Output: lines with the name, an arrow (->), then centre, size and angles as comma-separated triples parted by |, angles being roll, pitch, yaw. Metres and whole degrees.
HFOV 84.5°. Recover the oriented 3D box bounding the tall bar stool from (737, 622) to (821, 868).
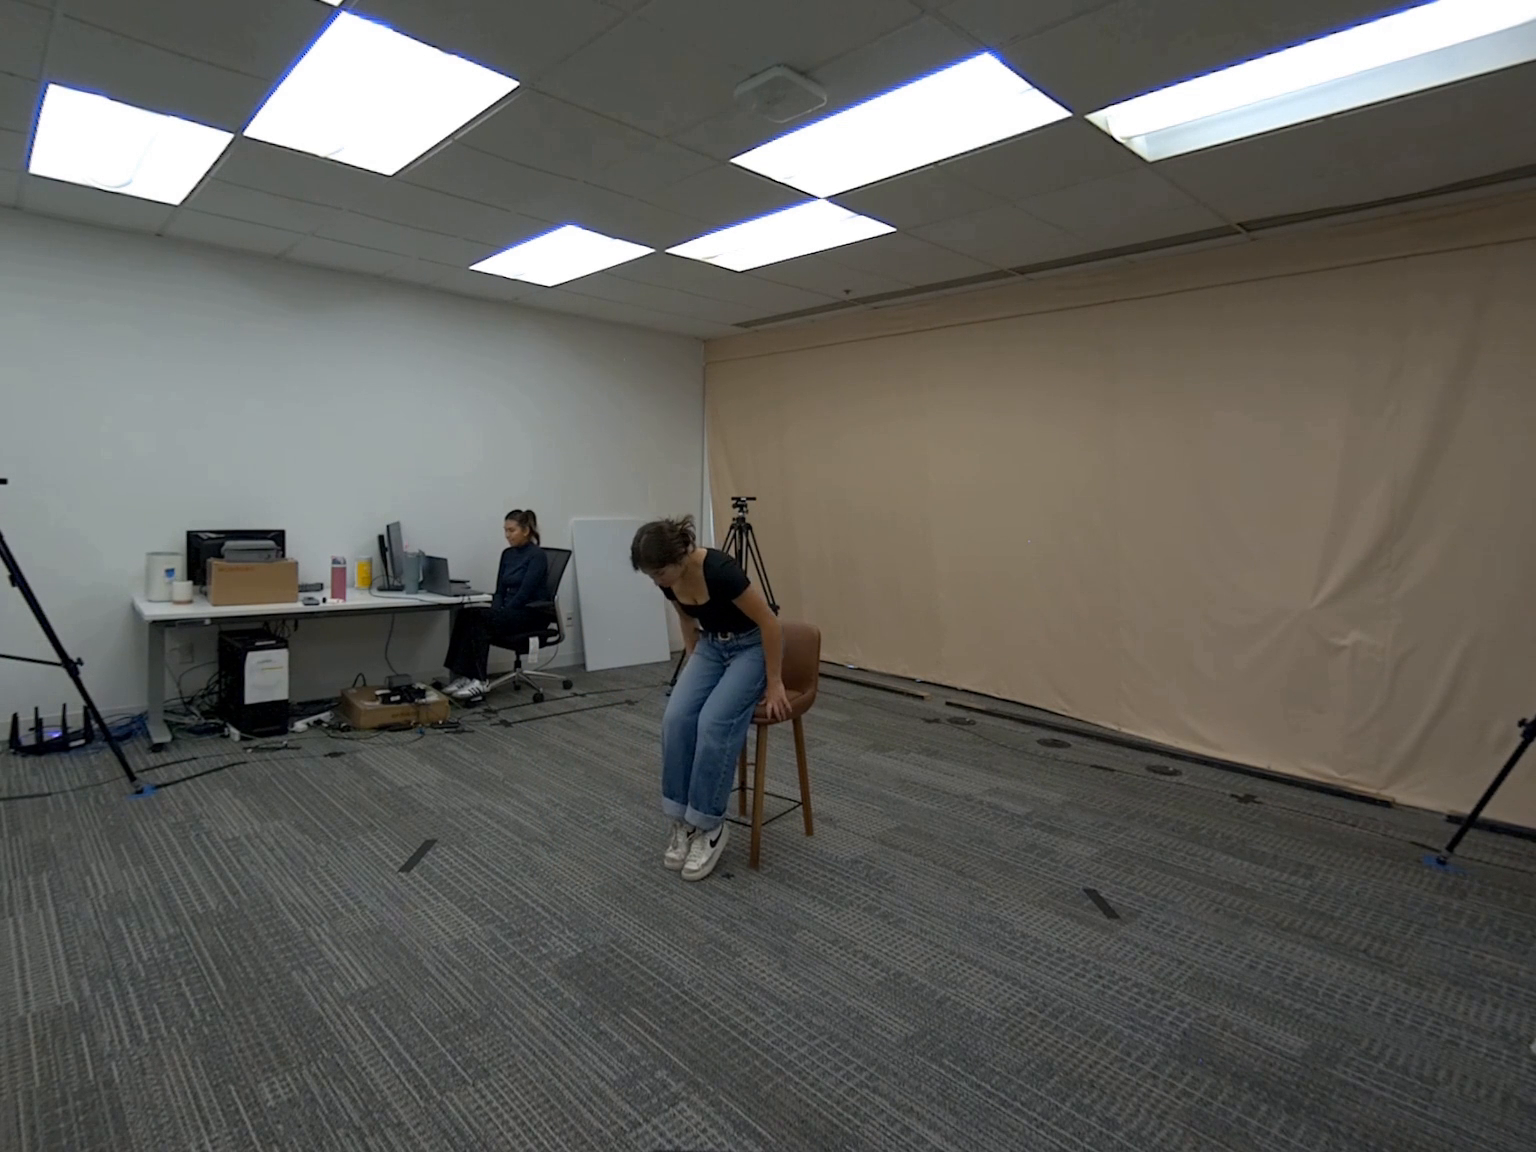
tall bar stool -> -0.075, 0.646, 3.435 | 0.467, 0.888, 0.457 | 4, 2, 36
